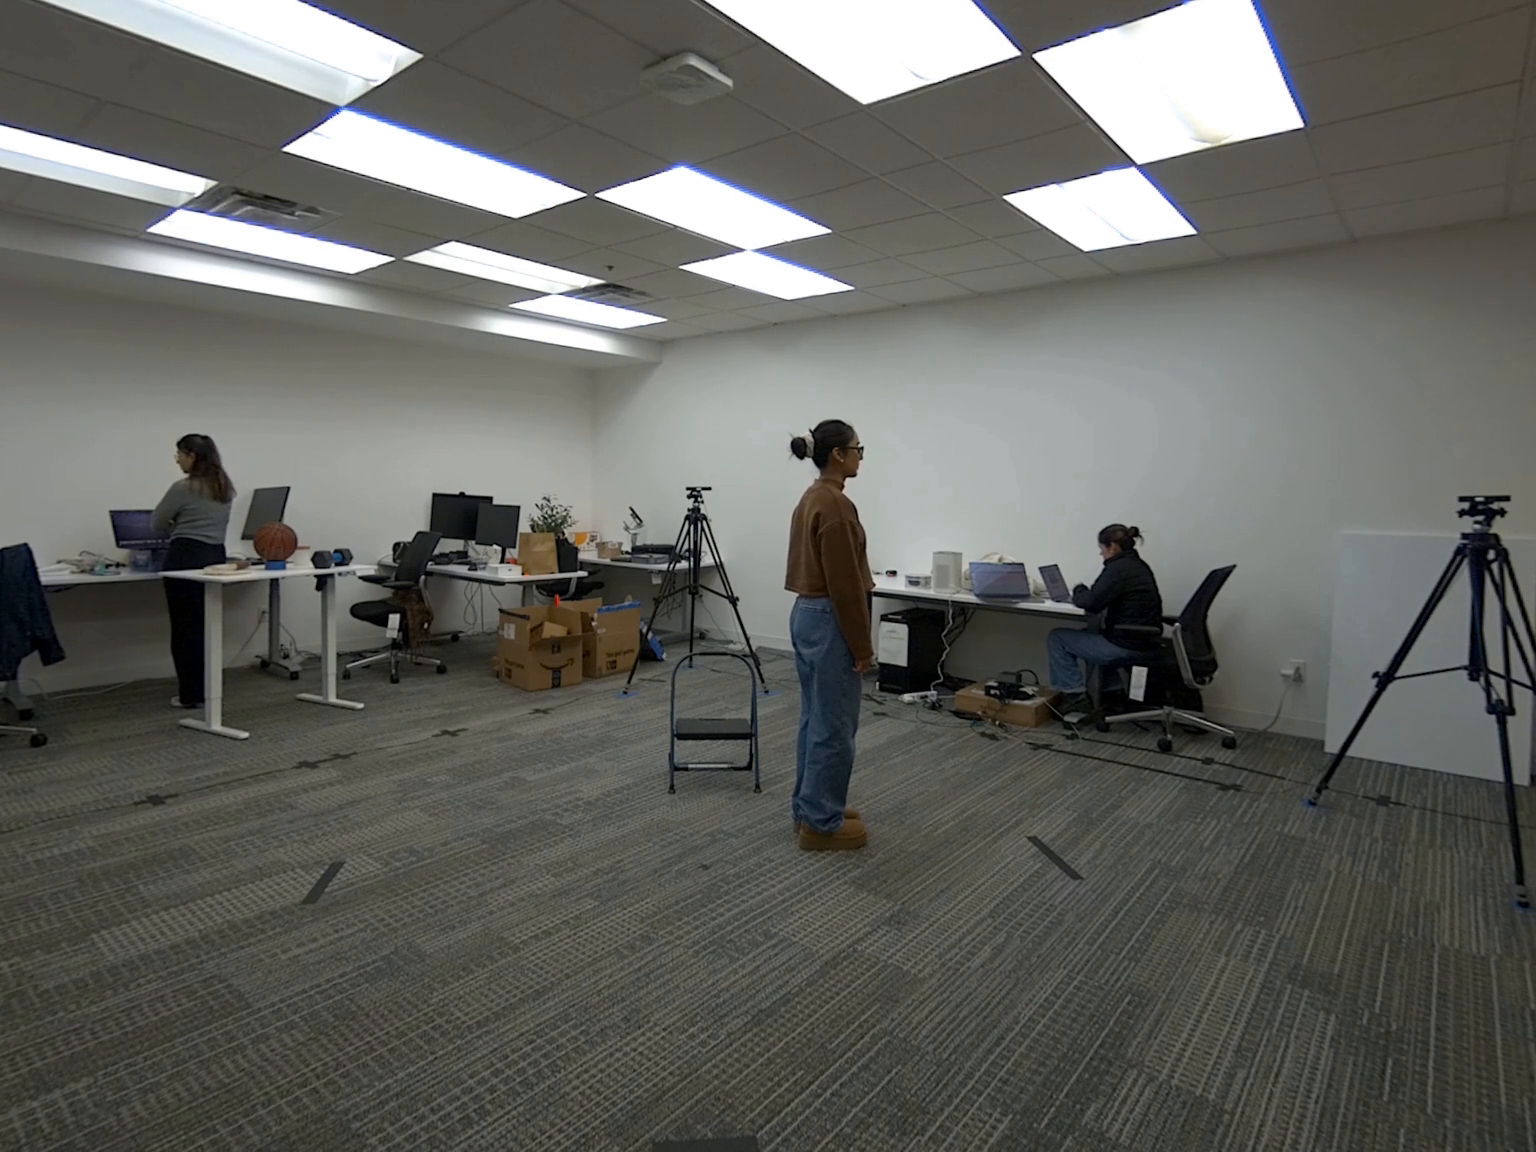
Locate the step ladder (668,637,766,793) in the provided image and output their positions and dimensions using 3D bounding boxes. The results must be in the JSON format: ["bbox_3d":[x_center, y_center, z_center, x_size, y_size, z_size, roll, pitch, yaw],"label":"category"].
[{"bbox_3d":[-0.268,0.671,4.045,0.428,0.604,0.352,0,3,-6],"label":"step ladder"}]
